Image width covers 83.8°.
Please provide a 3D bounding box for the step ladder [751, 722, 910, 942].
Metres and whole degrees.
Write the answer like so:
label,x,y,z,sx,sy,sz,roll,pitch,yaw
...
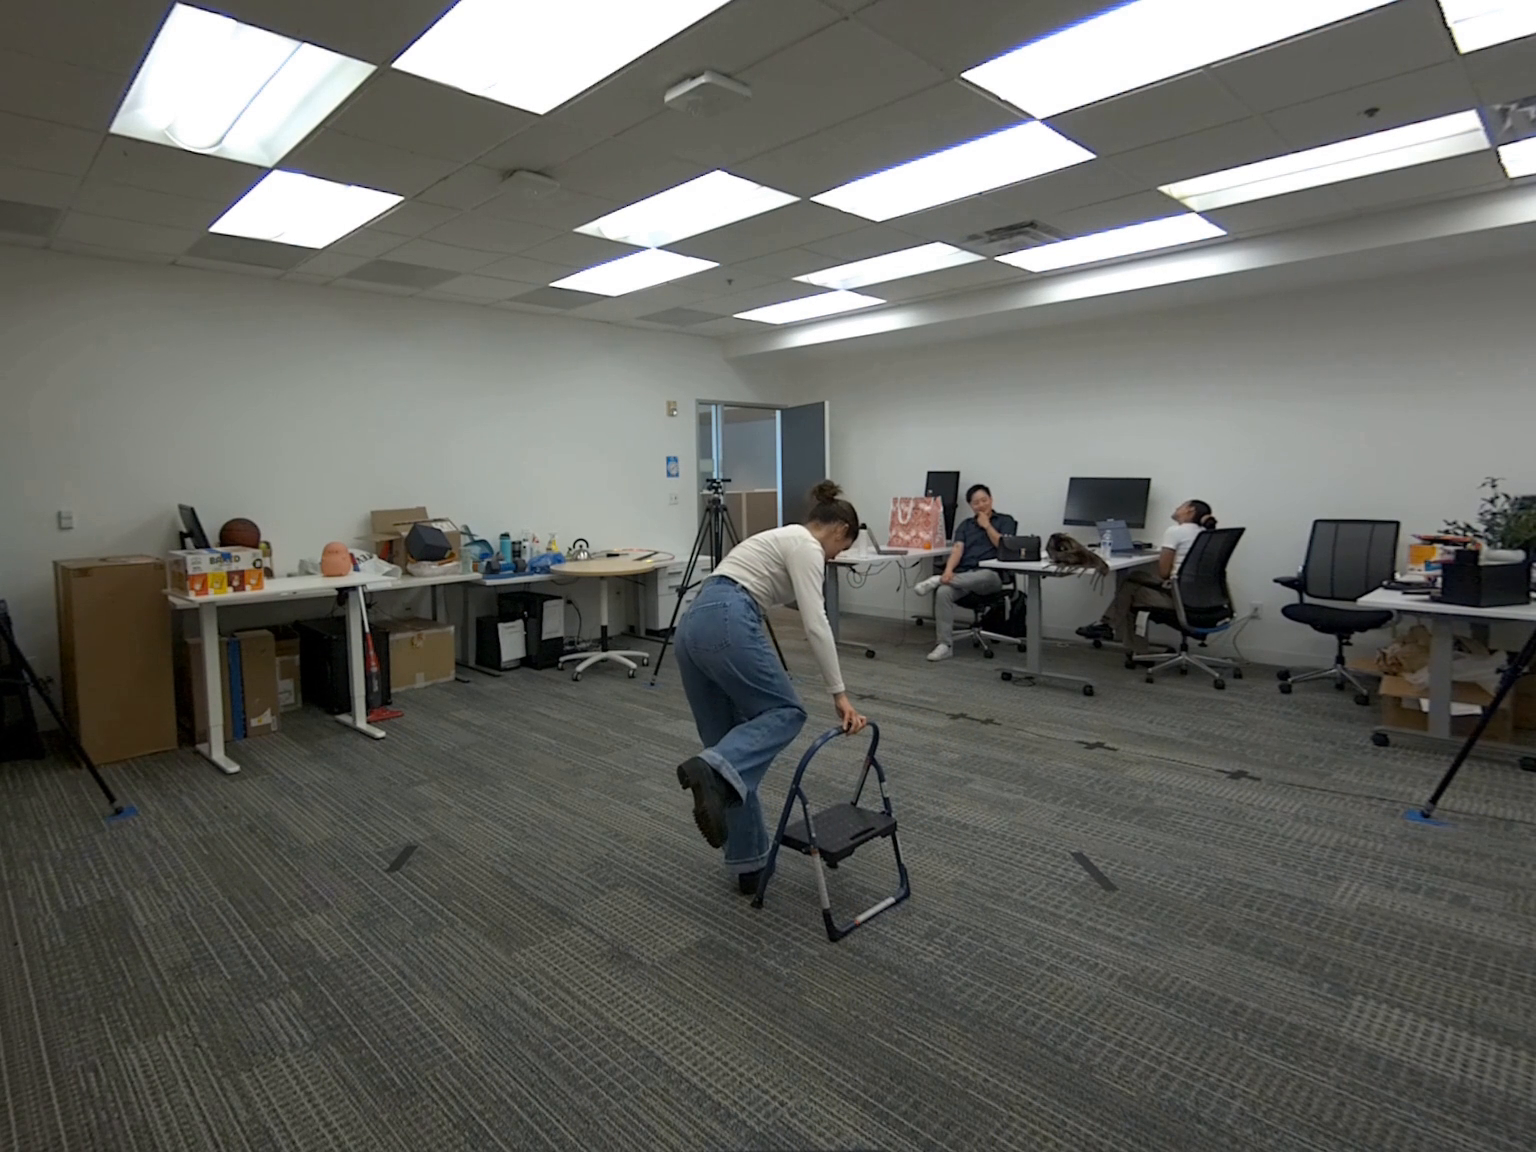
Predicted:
label,x,y,z,sx,sy,sz,roll,pitch,yaw
step ladder,0.213,0.771,2.802,0.360,0.604,0.419,4,6,43
